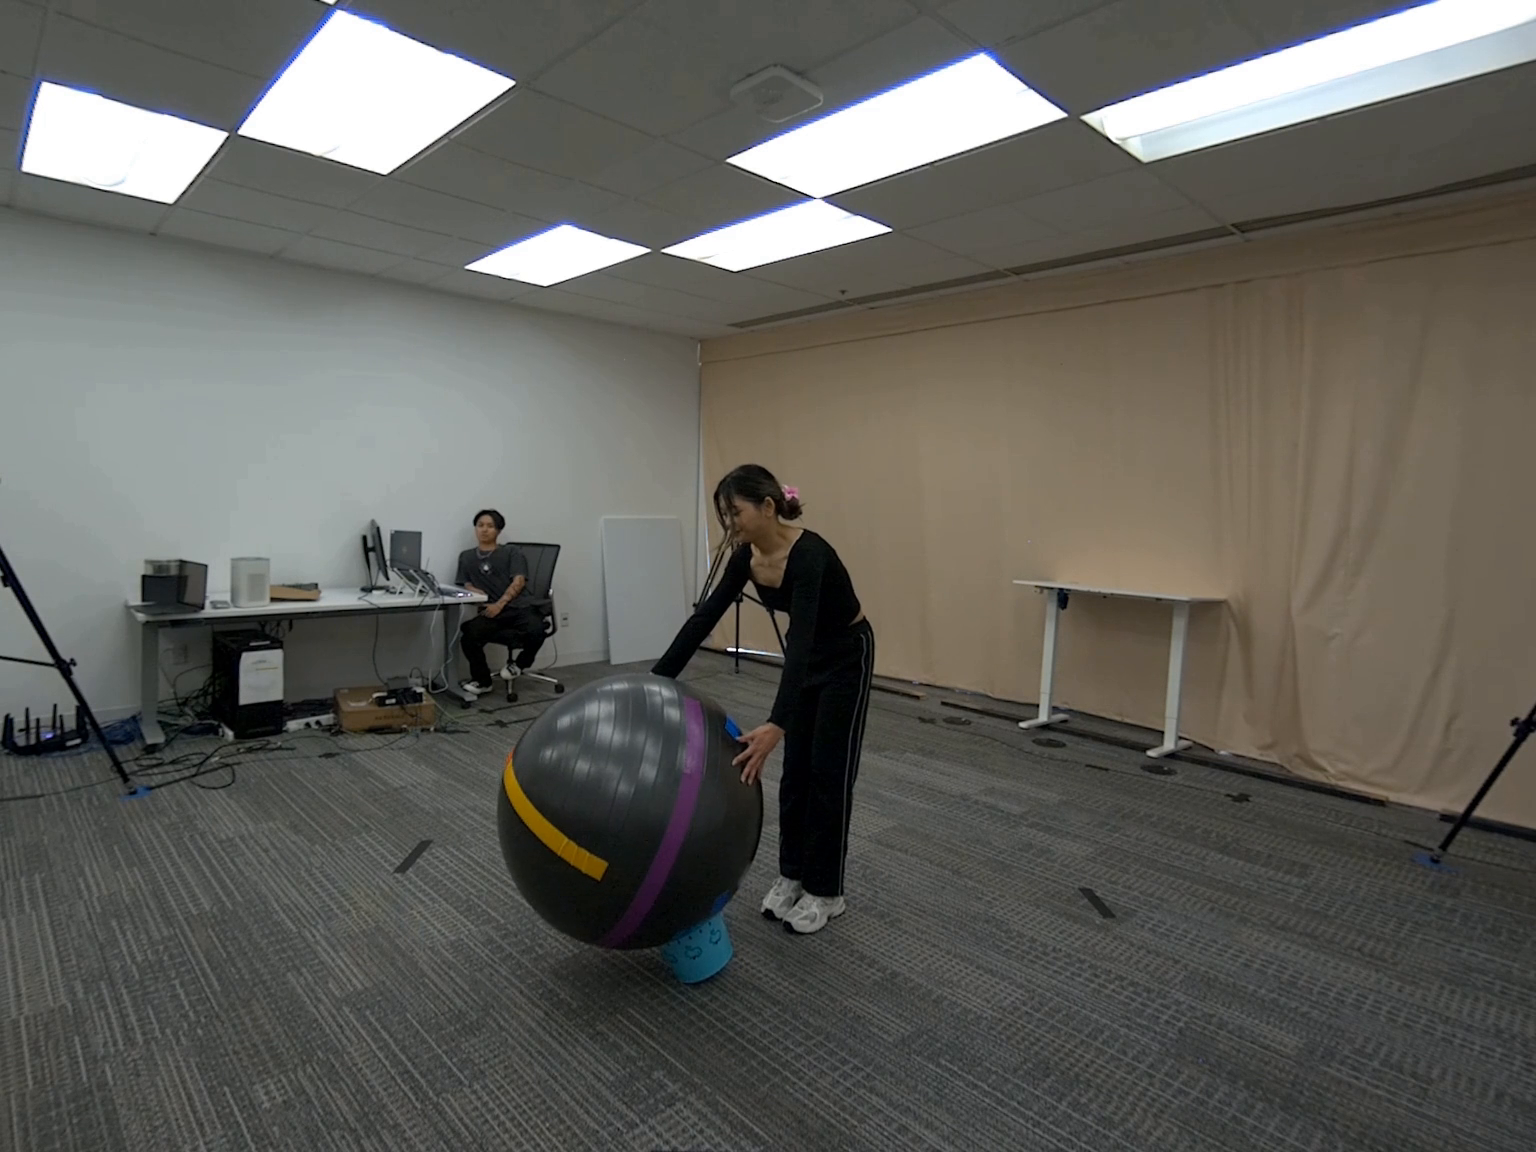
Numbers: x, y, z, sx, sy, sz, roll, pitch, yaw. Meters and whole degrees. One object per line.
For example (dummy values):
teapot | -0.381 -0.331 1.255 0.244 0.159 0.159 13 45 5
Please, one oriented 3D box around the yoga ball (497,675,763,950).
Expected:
yoga ball | -0.399 0.670 2.428 0.757 0.756 0.761 1 4 -1
